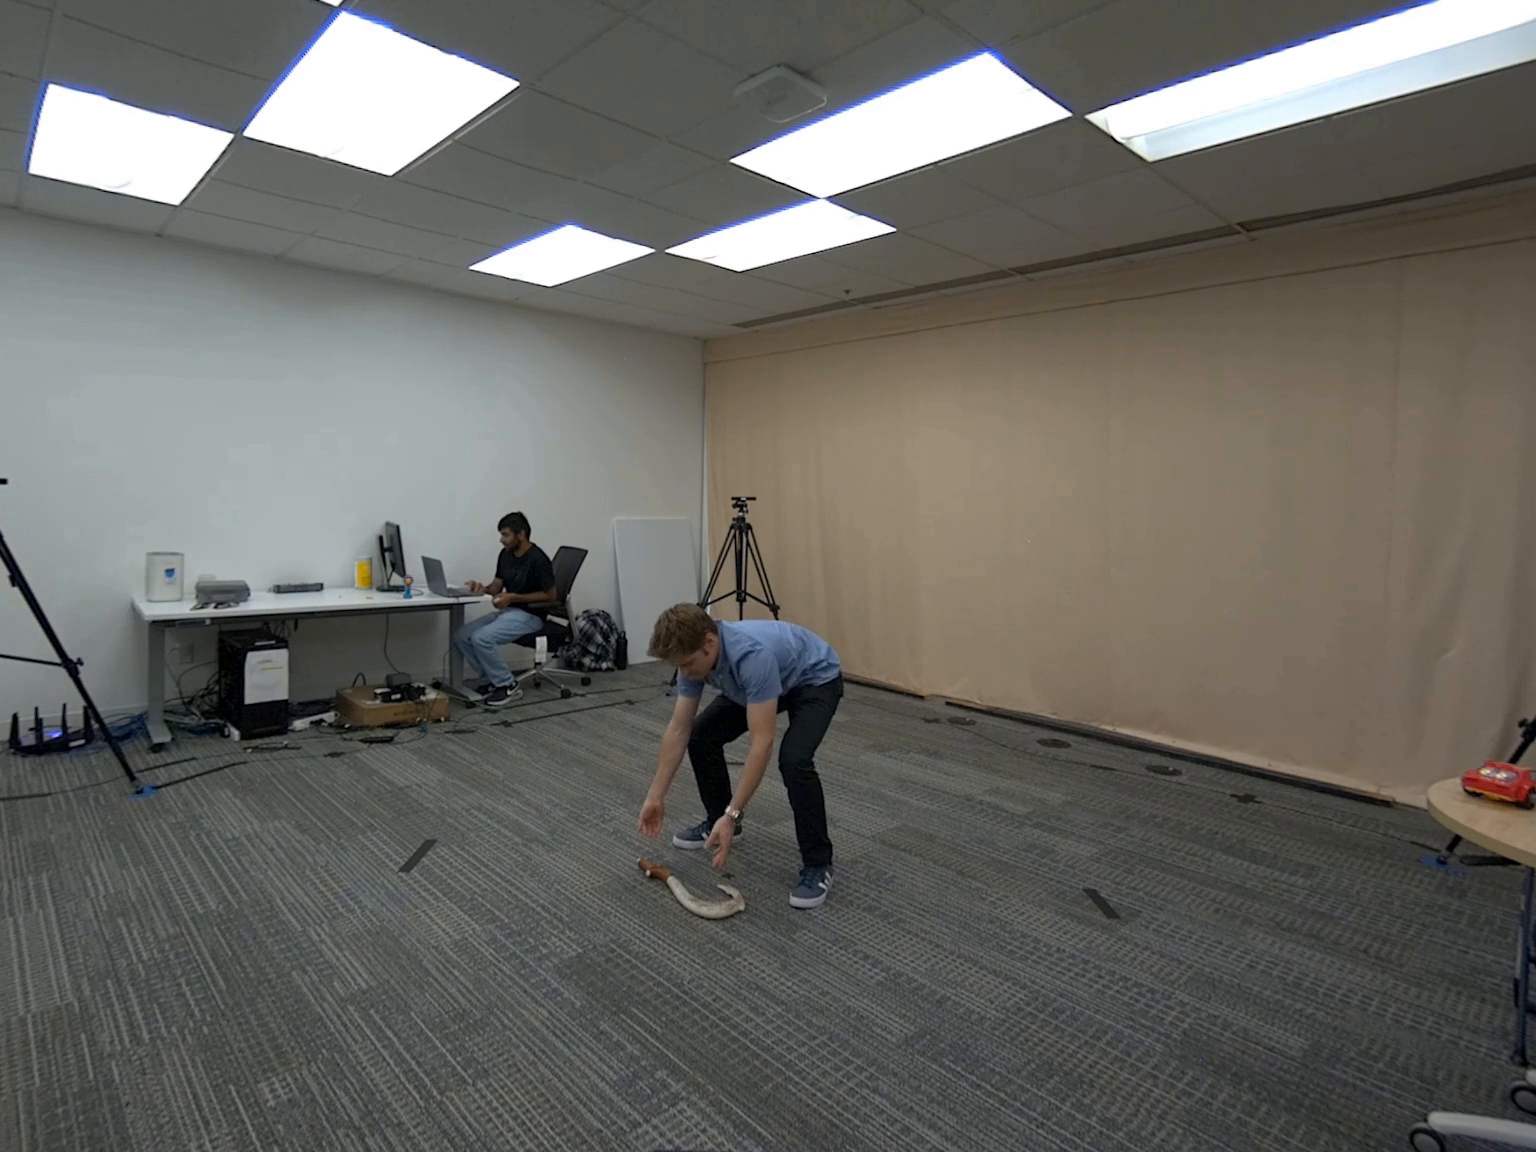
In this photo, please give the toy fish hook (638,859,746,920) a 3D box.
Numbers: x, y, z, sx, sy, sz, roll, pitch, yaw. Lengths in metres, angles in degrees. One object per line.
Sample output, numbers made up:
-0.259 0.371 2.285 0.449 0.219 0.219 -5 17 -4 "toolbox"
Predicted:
-0.281 1.099 2.998 0.219 0.048 0.520 8 1 -40 "toy fish hook"
